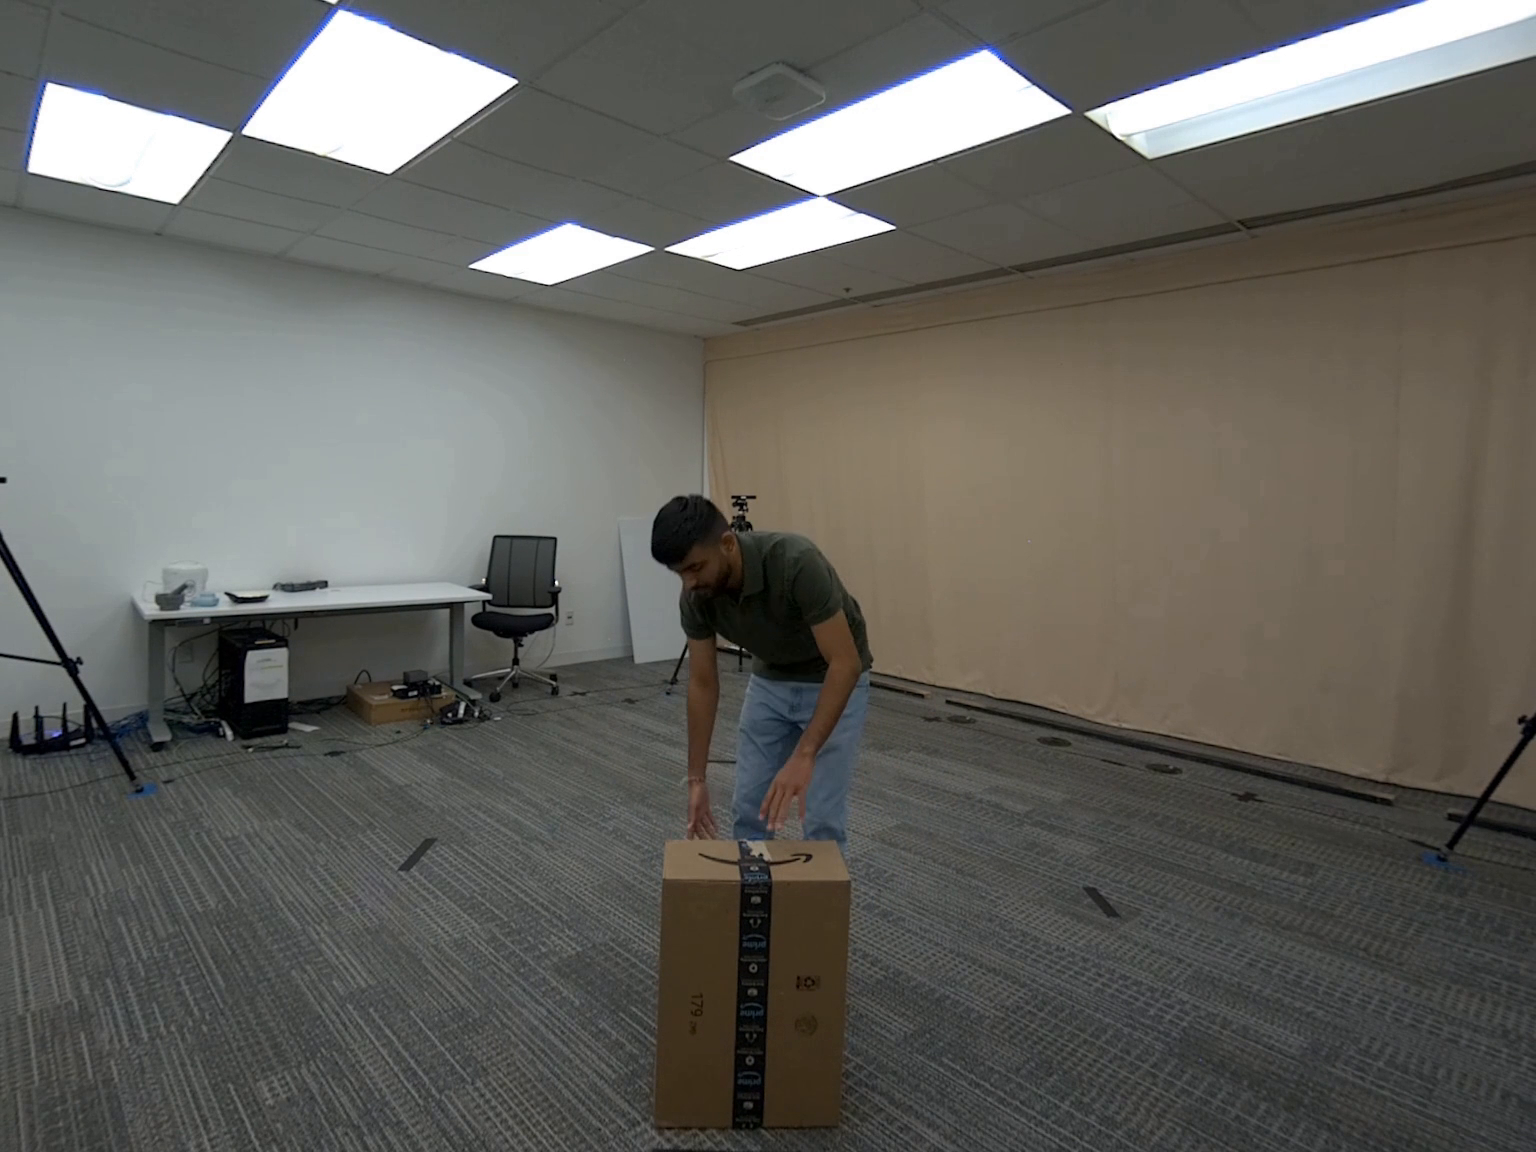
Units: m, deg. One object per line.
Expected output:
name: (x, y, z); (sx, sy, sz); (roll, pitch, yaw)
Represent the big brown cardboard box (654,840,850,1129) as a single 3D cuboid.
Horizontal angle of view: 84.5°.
big brown cardboard box: (-0.053, 0.938, 1.941); (0.416, 0.587, 0.234); (2, 4, -3)
